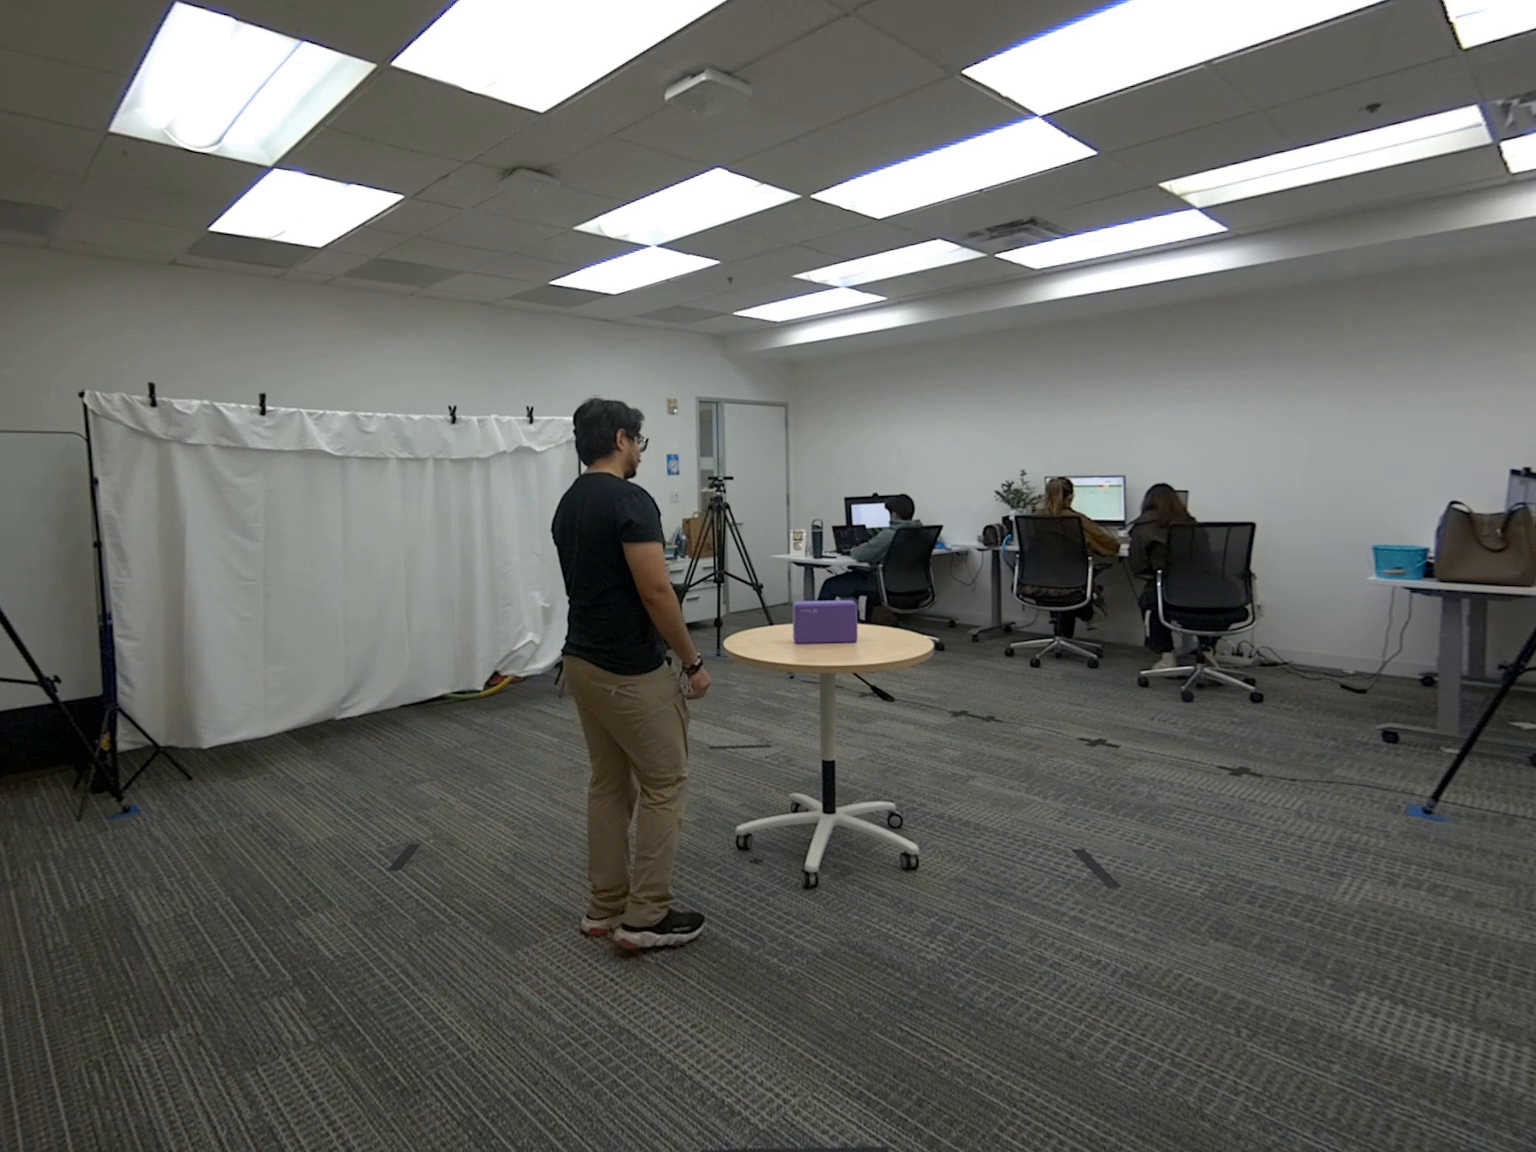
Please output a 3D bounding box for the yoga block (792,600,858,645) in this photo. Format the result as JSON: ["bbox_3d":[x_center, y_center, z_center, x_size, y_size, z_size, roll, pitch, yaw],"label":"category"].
[{"bbox_3d":[0.217,0.168,3.141,0.229,0.148,0.076,-1,3,0],"label":"yoga block"}]
